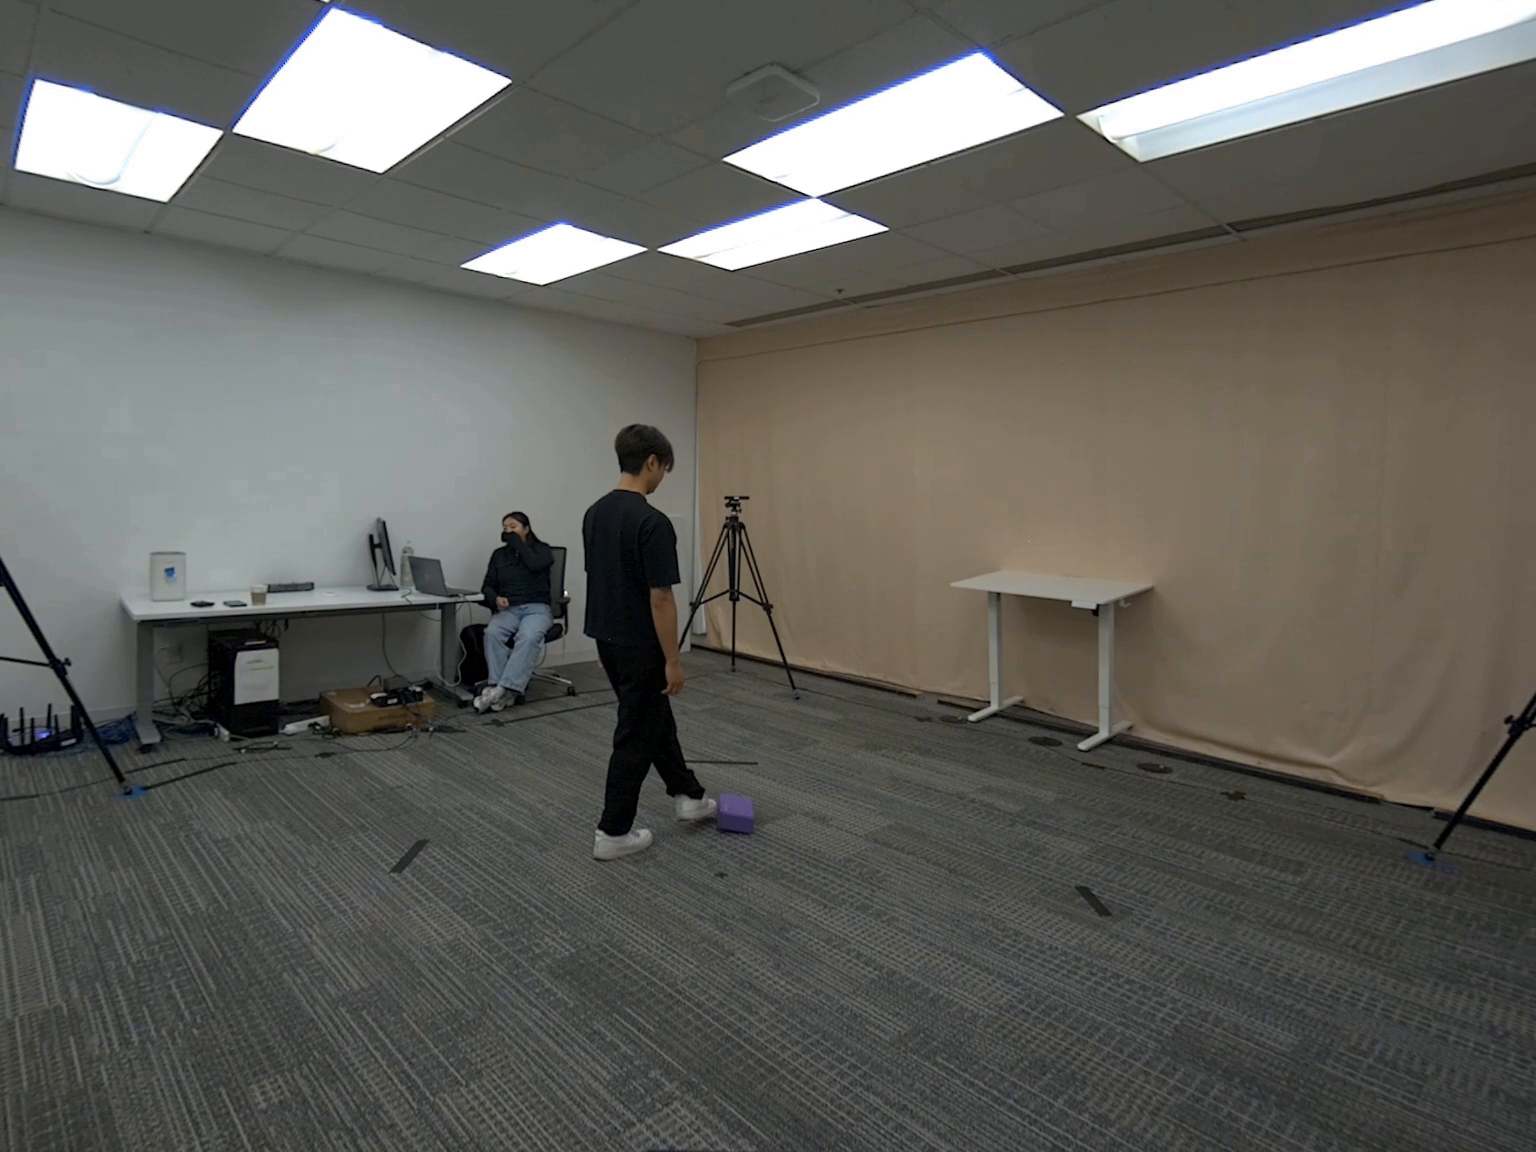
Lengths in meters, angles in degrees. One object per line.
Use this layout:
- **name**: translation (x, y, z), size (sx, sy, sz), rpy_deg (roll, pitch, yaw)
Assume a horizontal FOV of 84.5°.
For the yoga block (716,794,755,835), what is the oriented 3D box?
- **yoga block**: translation (-0.150, 1.011, 3.601), size (0.149, 0.076, 0.230), rpy_deg (7, 5, -3)
